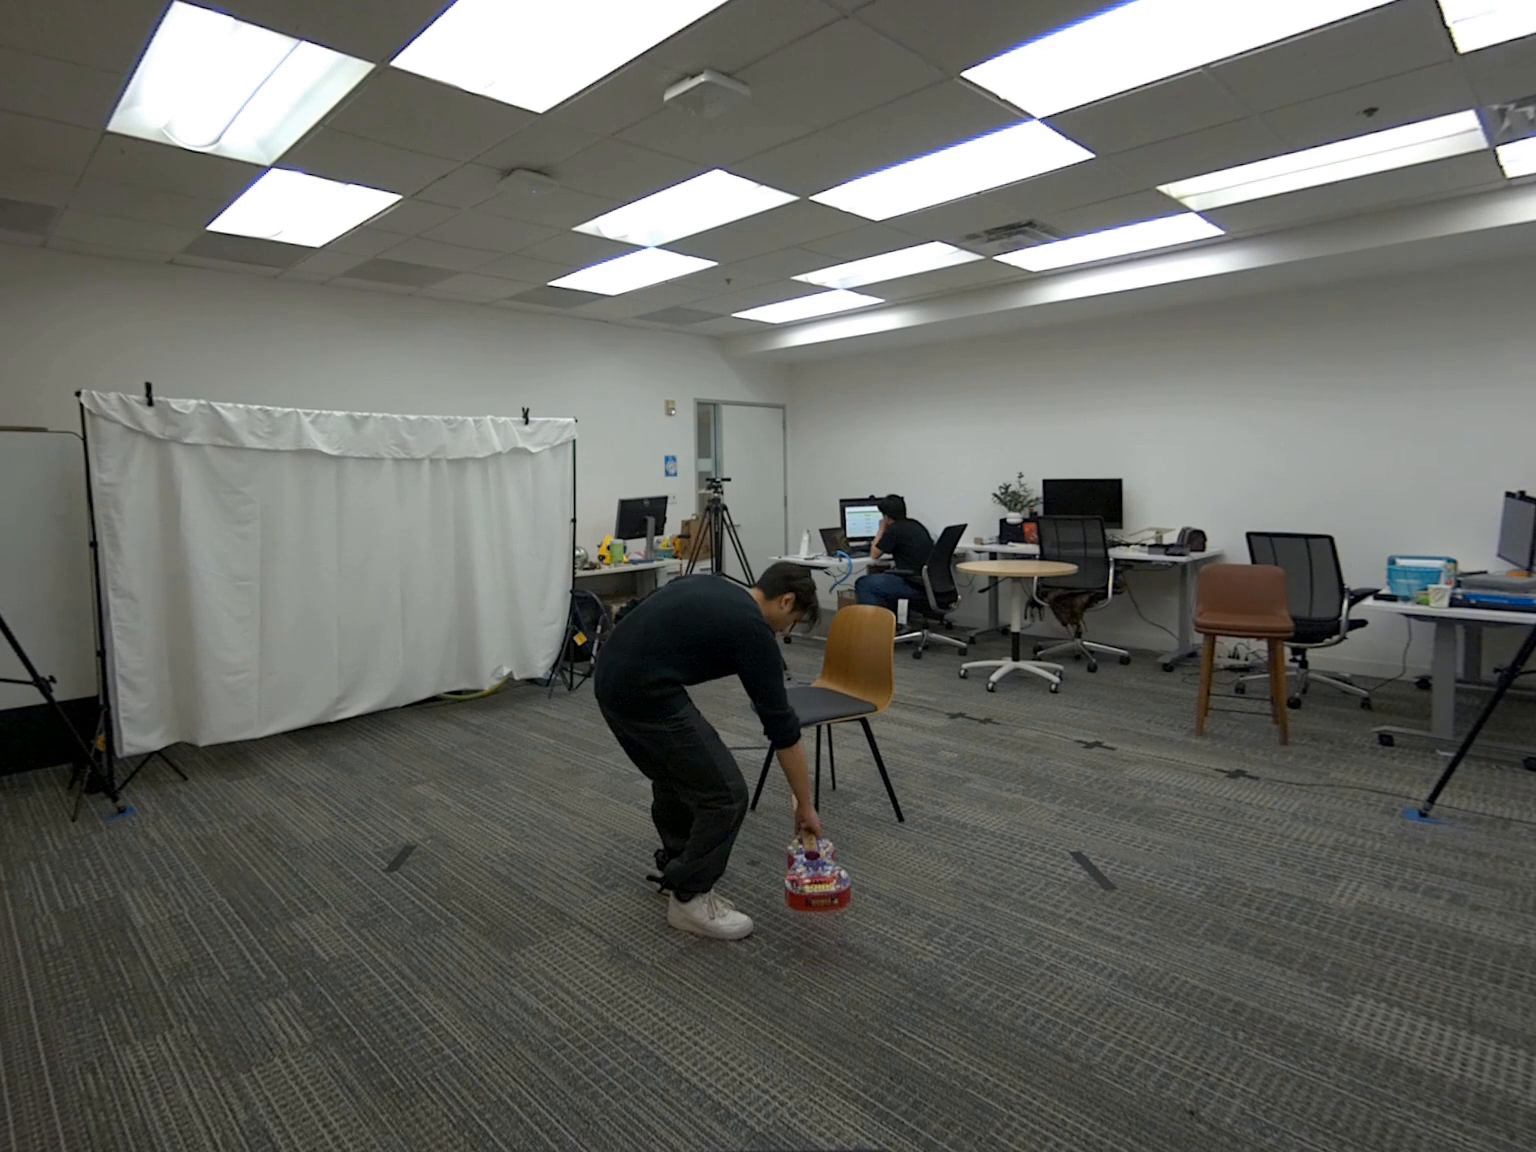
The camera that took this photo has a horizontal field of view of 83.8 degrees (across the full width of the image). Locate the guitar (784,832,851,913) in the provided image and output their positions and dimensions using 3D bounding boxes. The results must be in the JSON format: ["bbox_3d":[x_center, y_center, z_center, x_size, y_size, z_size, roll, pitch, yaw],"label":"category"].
[{"bbox_3d":[0.158,0.852,2.671,0.194,0.069,0.503,-3,18,4],"label":"guitar"}]
